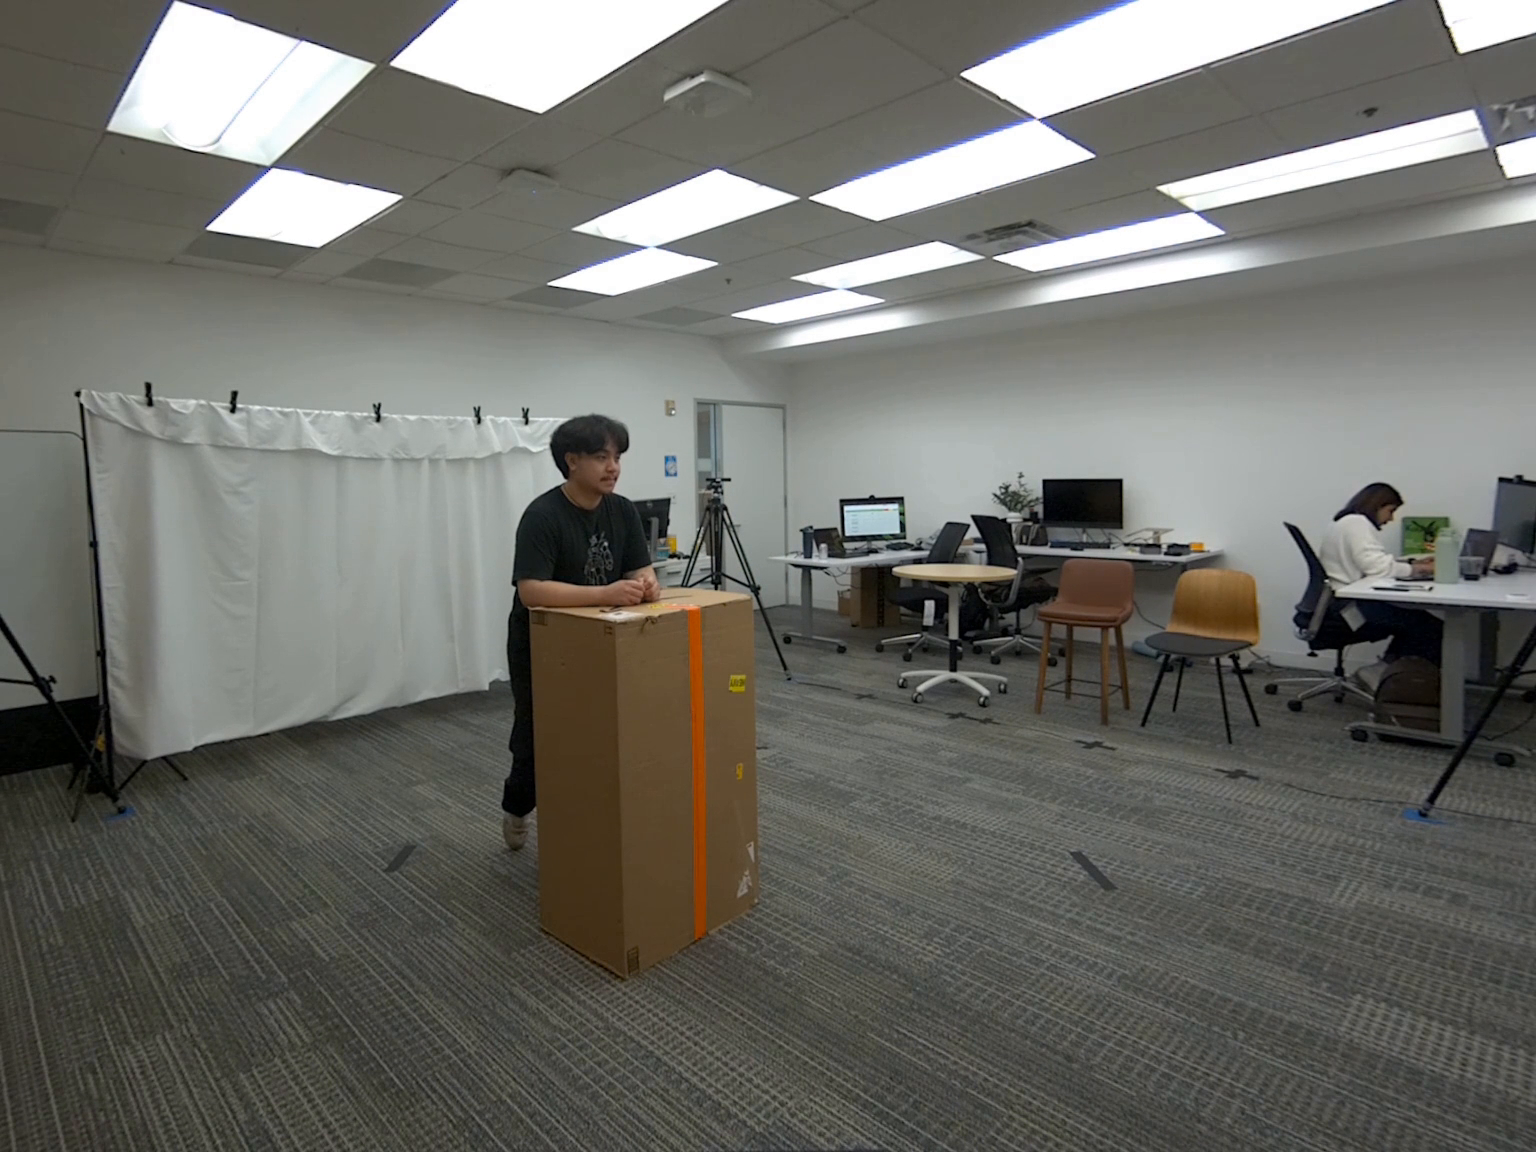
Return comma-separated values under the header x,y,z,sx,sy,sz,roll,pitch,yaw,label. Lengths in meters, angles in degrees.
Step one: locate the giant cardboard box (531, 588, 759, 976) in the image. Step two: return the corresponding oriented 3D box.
x,y,z,sx,sy,sz,roll,pitch,yaw,label
-0.375,0.586,2.705,0.461,1.022,0.569,4,7,43,giant cardboard box
